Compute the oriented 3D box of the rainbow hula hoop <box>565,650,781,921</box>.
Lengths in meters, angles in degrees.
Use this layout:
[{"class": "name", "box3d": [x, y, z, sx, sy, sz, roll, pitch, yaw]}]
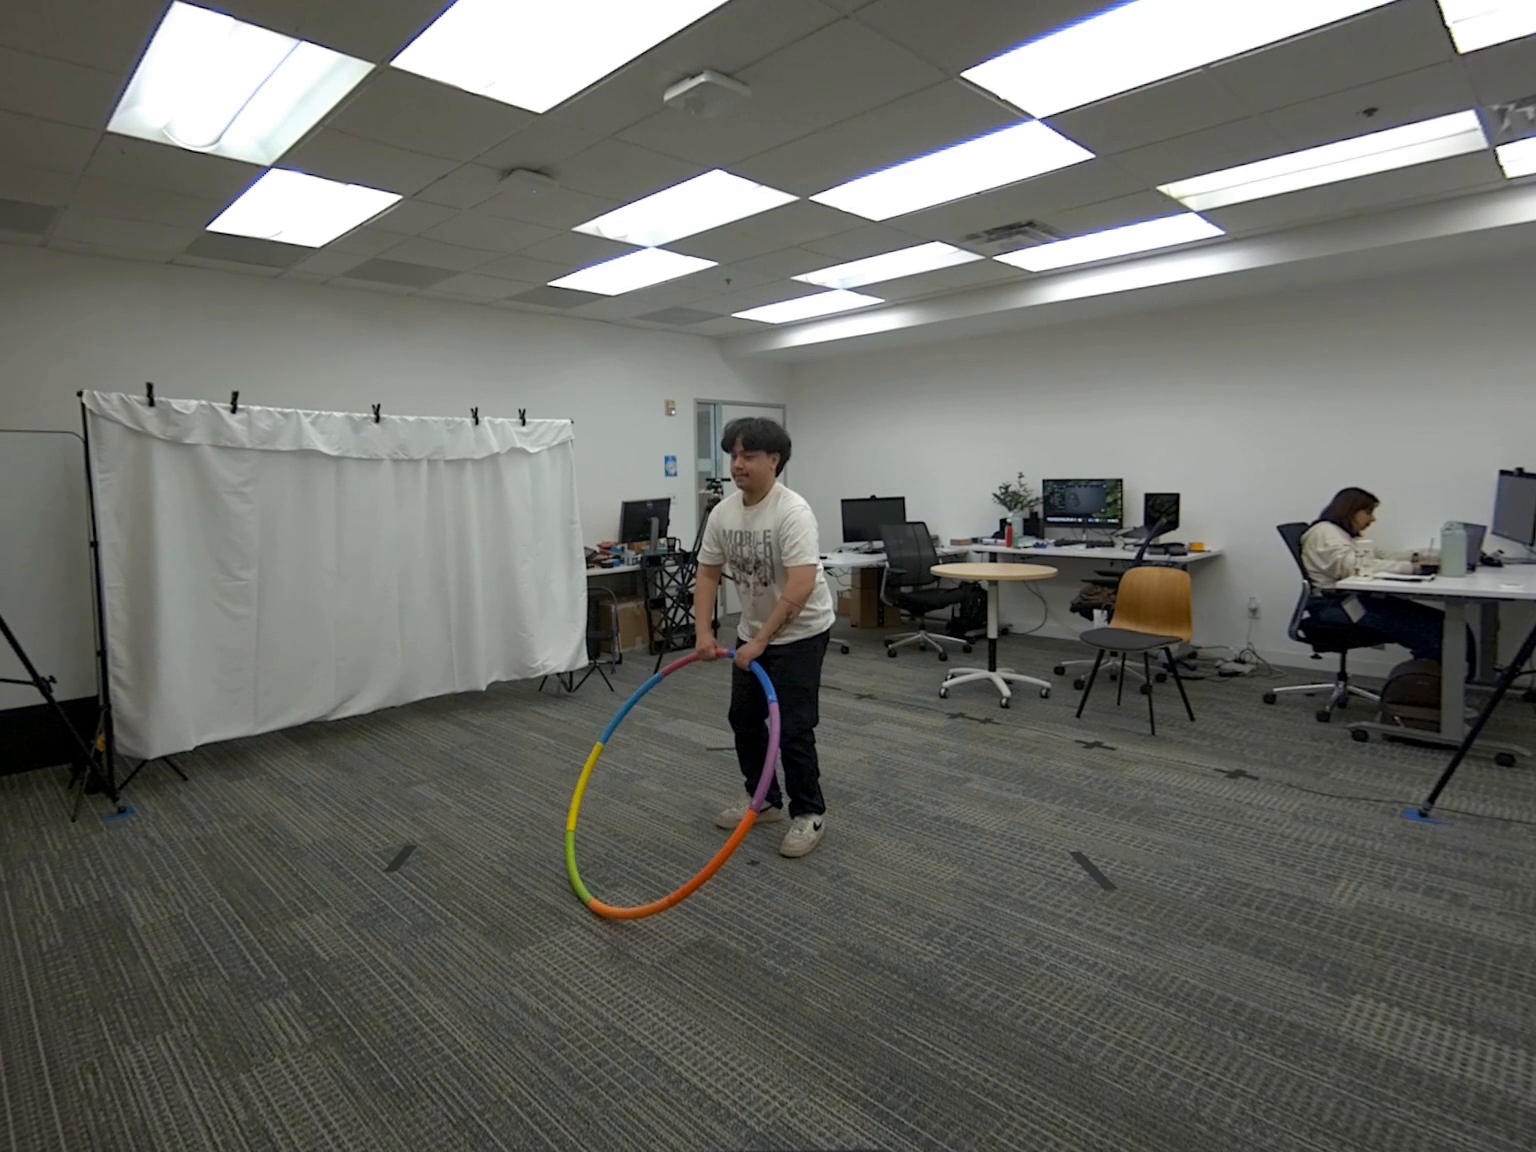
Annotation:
[{"class": "rainbow hula hoop", "box3d": [-0.355, 0.687, 2.950, 0.050, 0.990, 1.015, 42, -21, -32]}]
